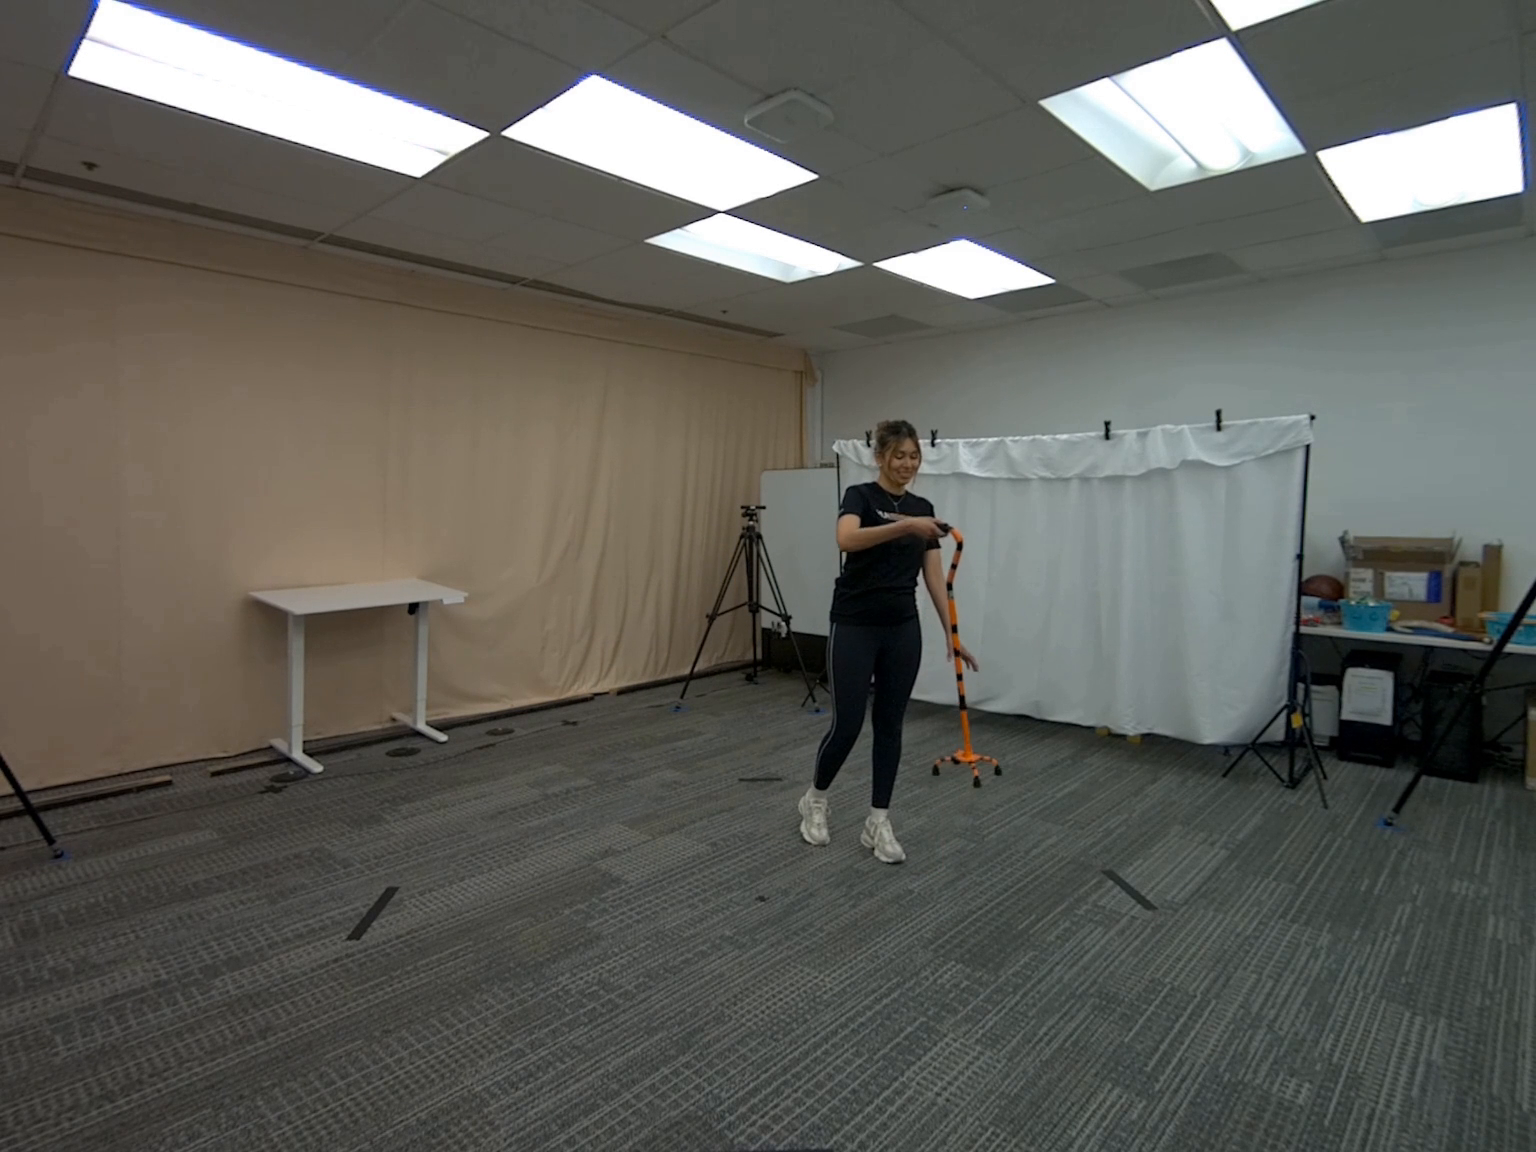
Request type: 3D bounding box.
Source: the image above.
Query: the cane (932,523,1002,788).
[{"bbox_3d":[0.652,0.285,2.971,0.213,0.902,0.147,1,11,45],"label":"cane"}]
